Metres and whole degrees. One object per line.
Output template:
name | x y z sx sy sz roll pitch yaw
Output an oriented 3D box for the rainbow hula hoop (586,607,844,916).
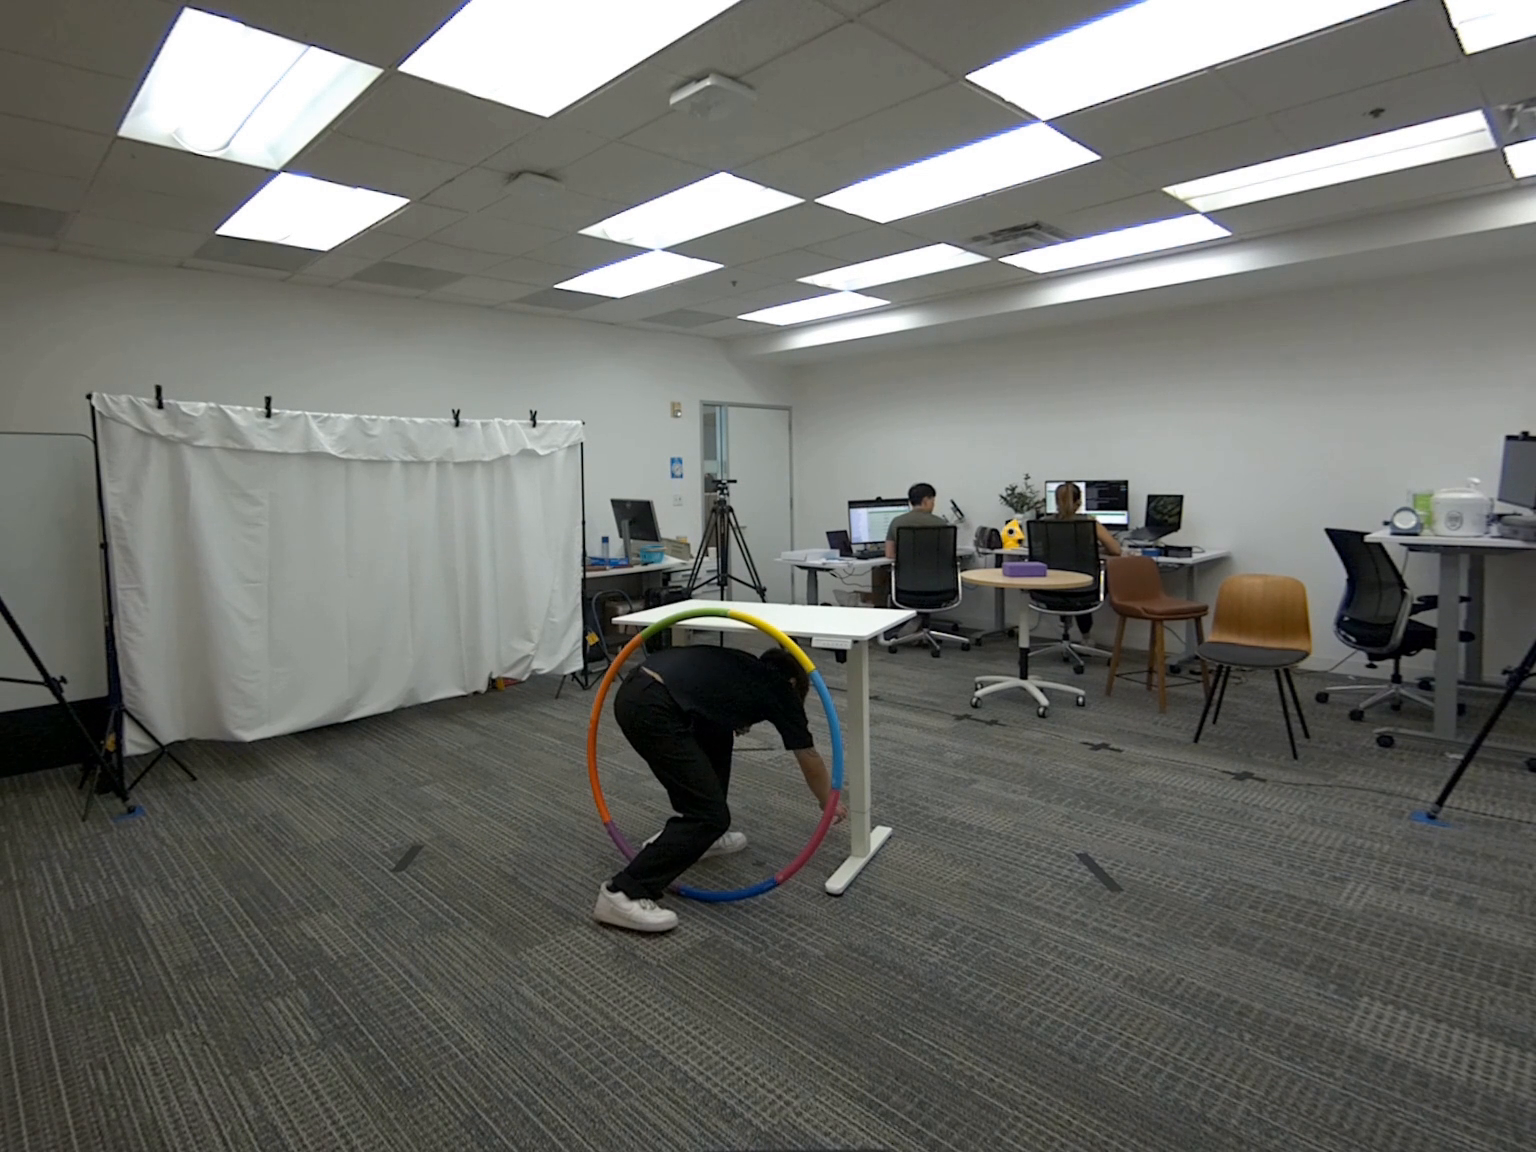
rainbow hula hoop | -0.210 0.599 2.924 1.003 0.984 0.034 1 -8 28
